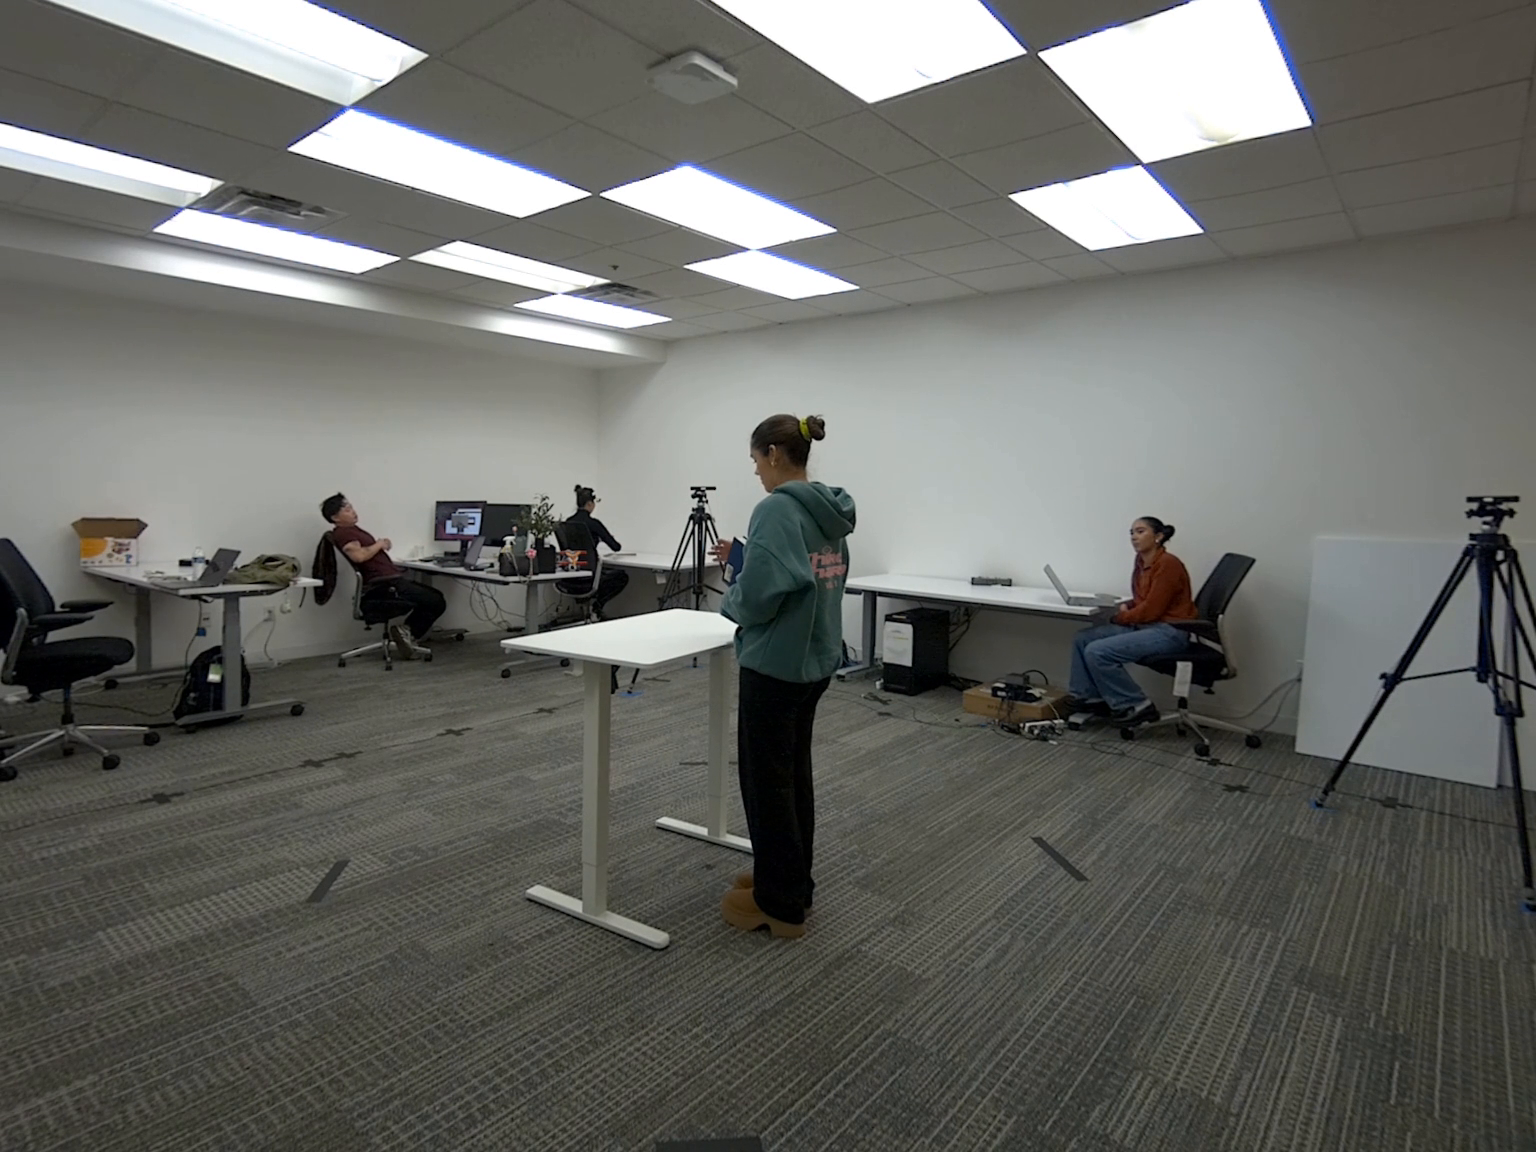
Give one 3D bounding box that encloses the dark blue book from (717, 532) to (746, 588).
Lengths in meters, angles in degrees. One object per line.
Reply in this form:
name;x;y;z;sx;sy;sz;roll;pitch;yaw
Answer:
dark blue book;-0.053;-0.012;2.642;0.044;0.161;0.255;-8;30;-41
